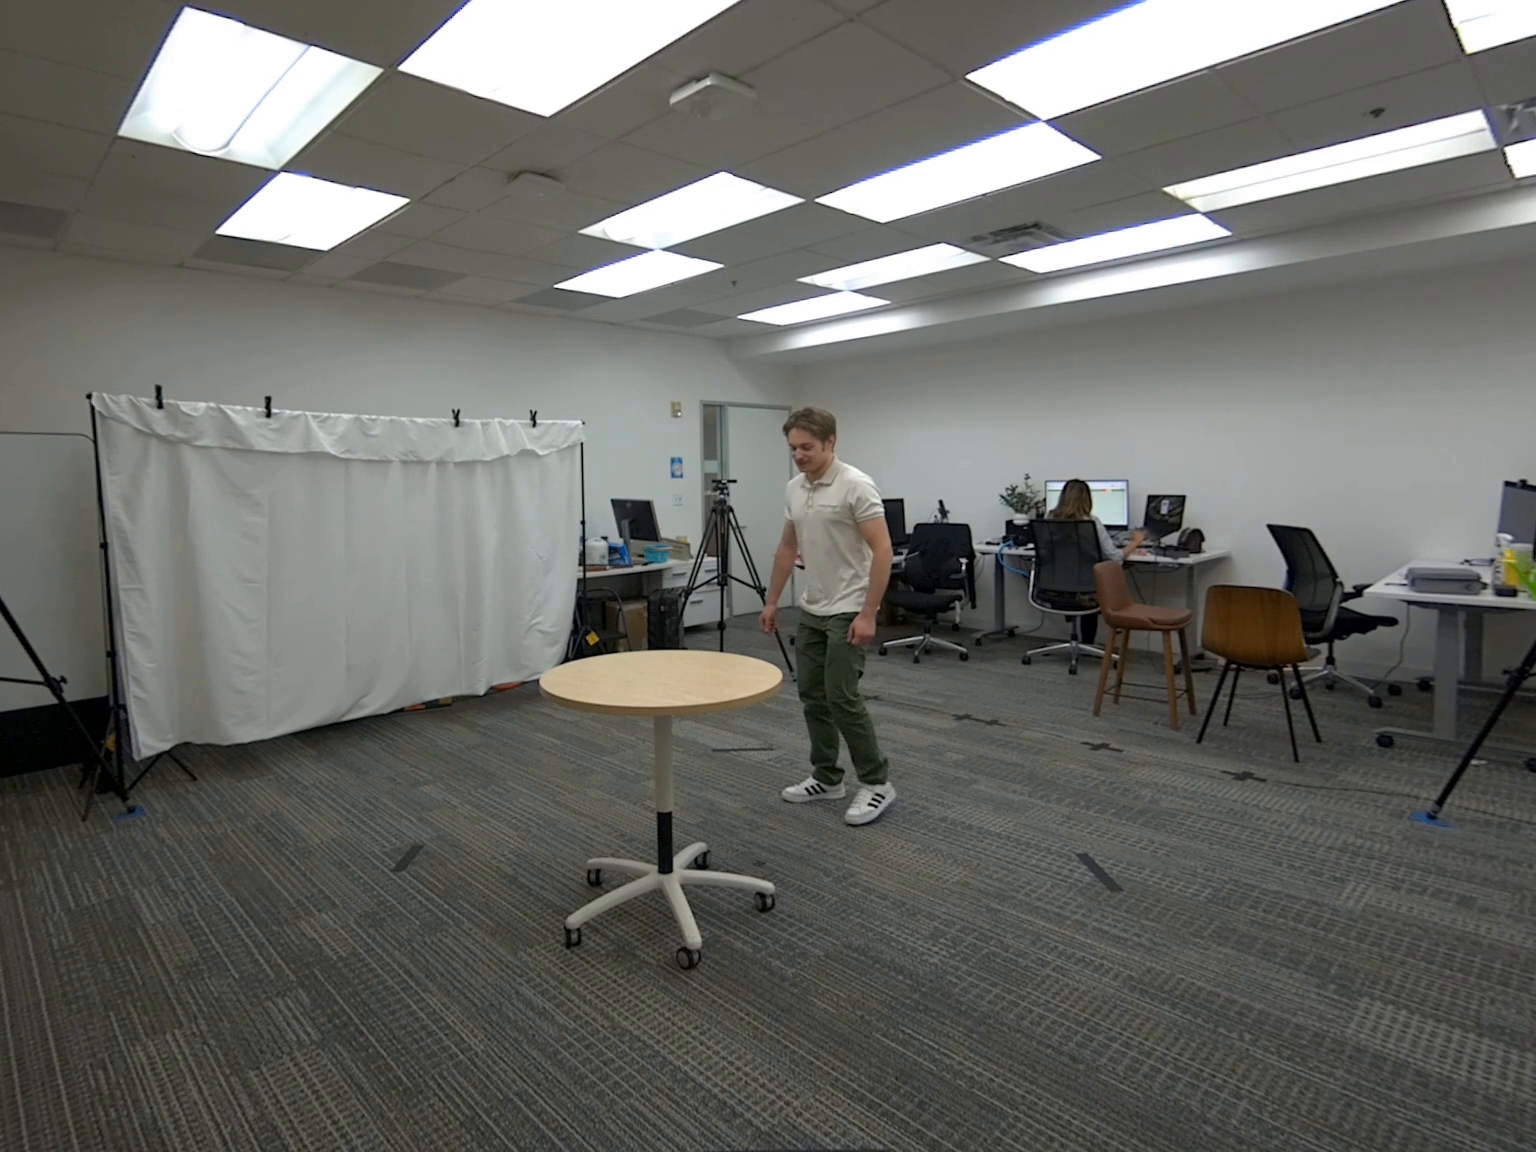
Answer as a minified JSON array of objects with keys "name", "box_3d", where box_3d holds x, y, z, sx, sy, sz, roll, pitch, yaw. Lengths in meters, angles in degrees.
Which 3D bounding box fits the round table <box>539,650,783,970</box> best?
[{"name":"round table","box_3d":[-0.334,0.705,2.748,0.763,0.791,0.768,-1,5,-2]}]
